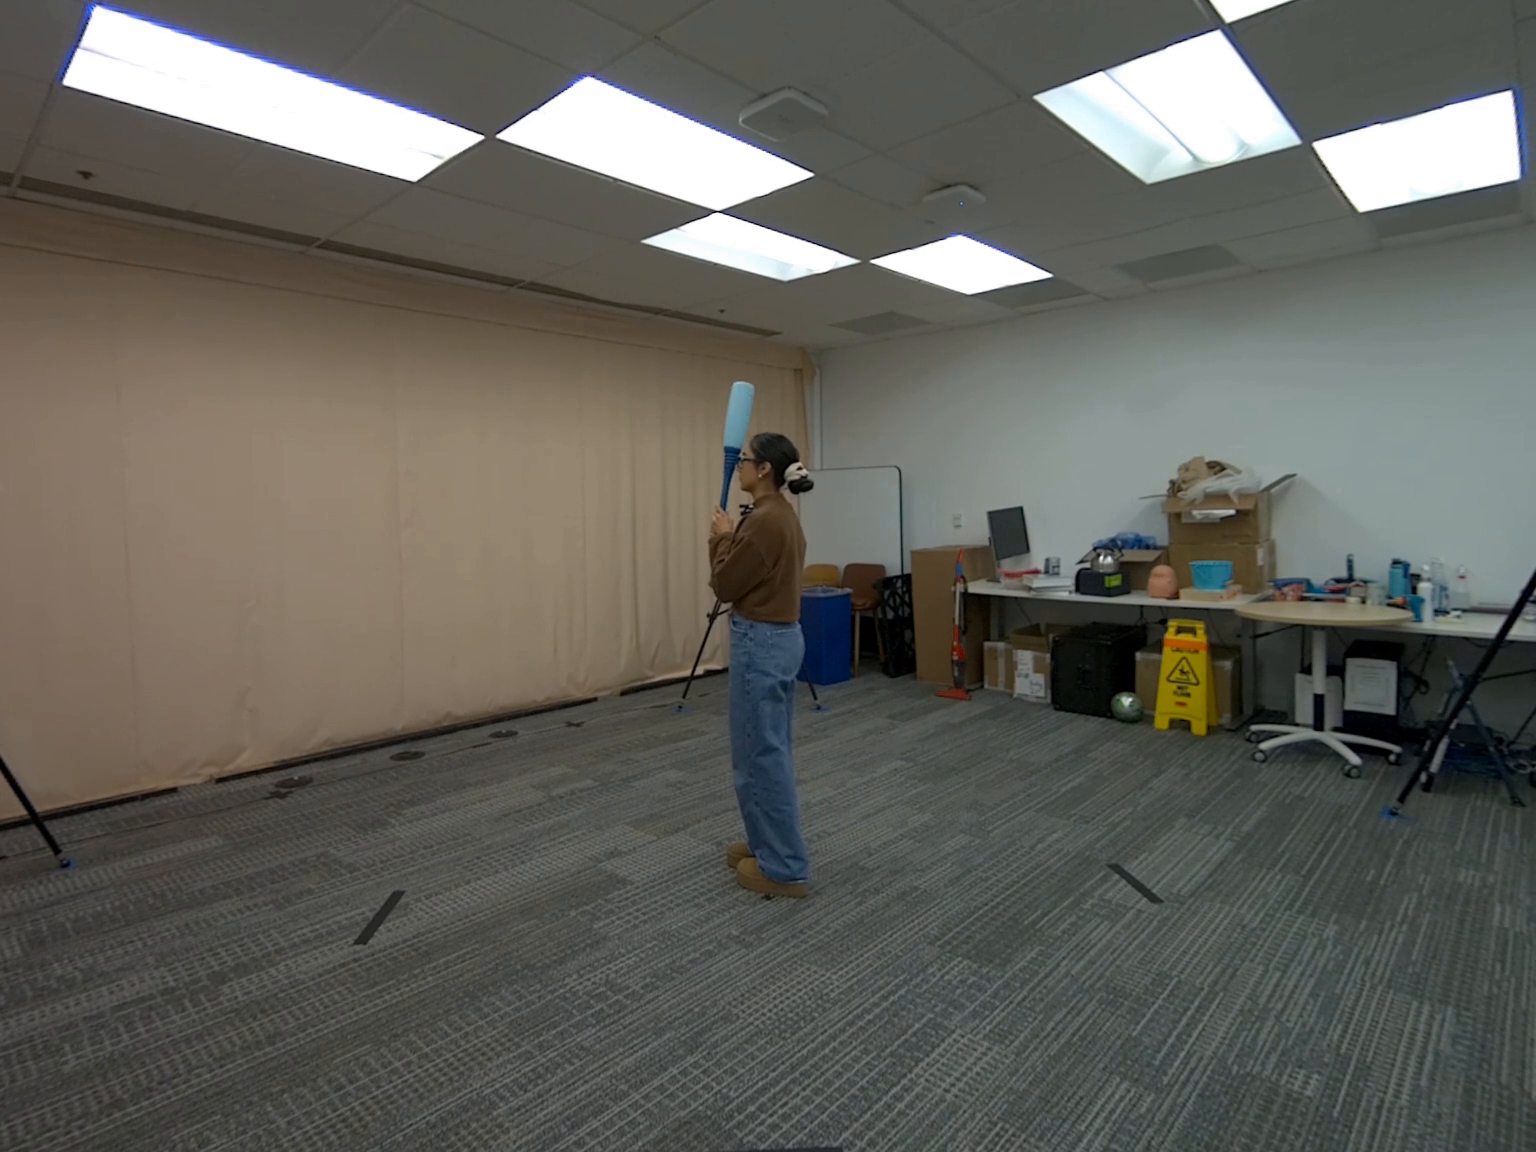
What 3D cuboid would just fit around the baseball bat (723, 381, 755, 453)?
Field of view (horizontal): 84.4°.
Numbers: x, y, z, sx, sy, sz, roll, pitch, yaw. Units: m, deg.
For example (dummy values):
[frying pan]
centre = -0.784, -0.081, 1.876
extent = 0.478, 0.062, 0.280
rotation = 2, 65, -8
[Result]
[baseball bat]
centre = -0.146, -0.460, 3.160
extent = 0.089, 0.544, 0.089
rotation = 6, -3, -2
